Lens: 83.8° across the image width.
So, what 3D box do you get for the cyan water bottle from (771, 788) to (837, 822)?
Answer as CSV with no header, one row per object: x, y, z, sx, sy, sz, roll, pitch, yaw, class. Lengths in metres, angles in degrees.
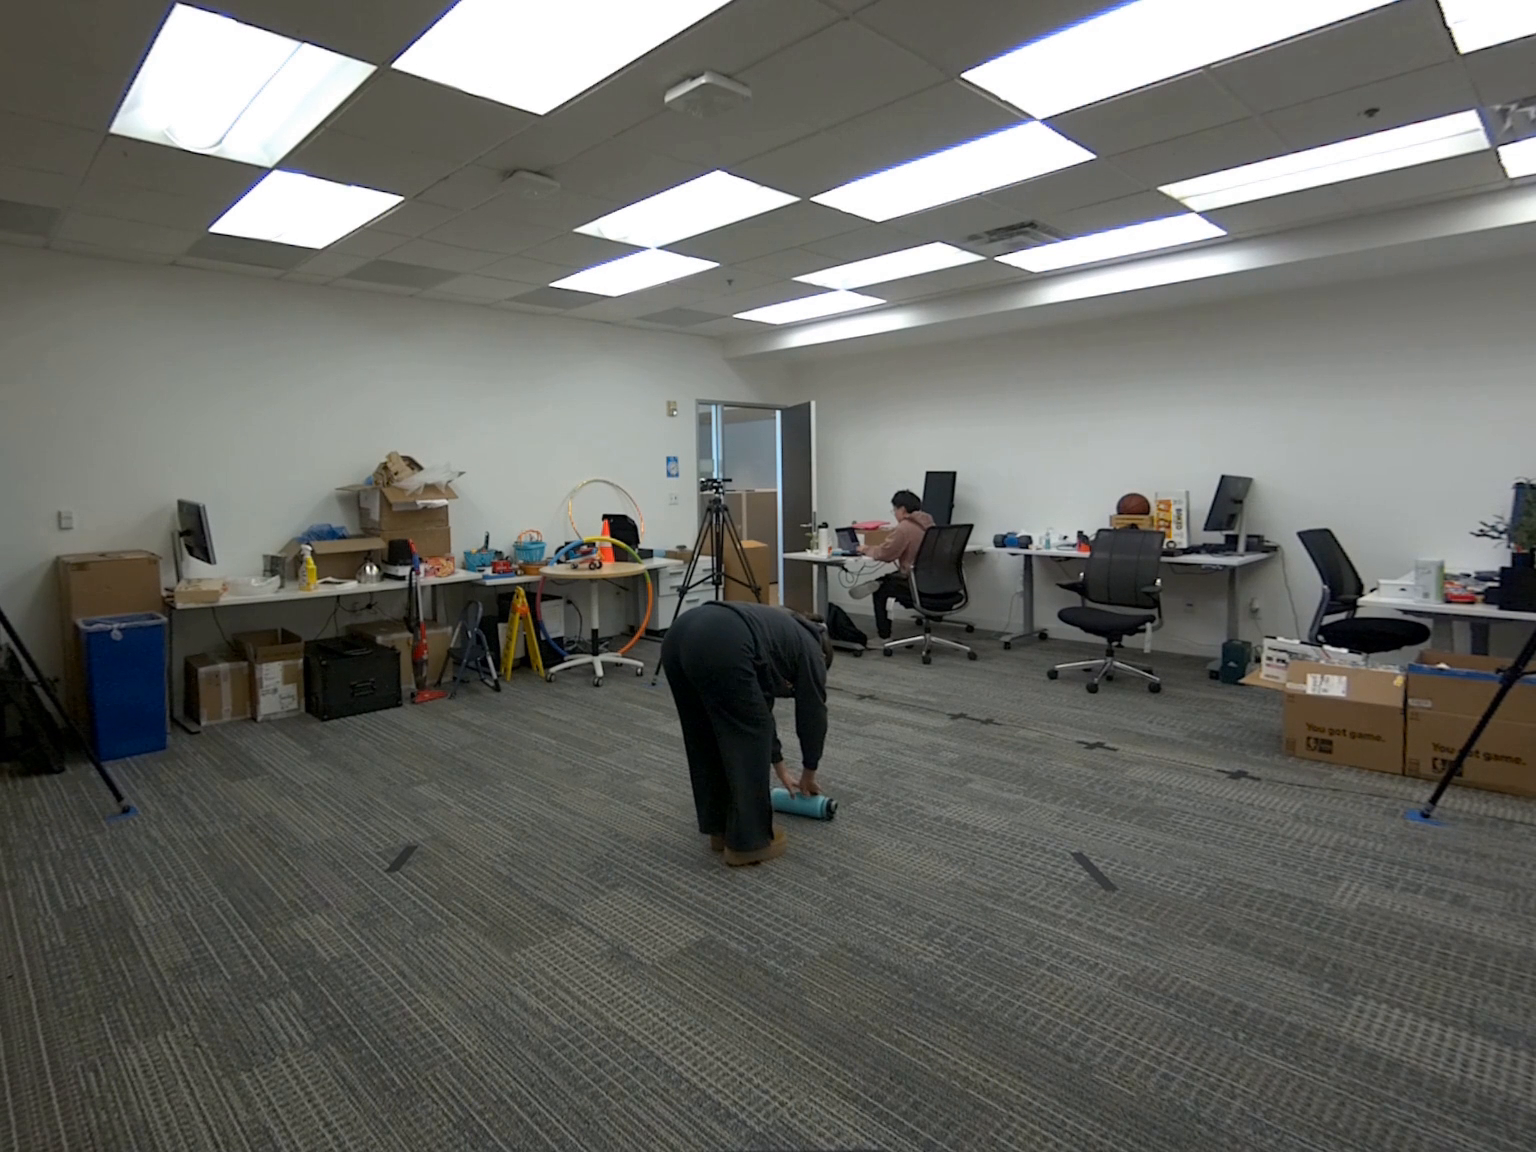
0.155,0.948,3.530,0.290,0.092,0.090,2,5,28,cyan water bottle
